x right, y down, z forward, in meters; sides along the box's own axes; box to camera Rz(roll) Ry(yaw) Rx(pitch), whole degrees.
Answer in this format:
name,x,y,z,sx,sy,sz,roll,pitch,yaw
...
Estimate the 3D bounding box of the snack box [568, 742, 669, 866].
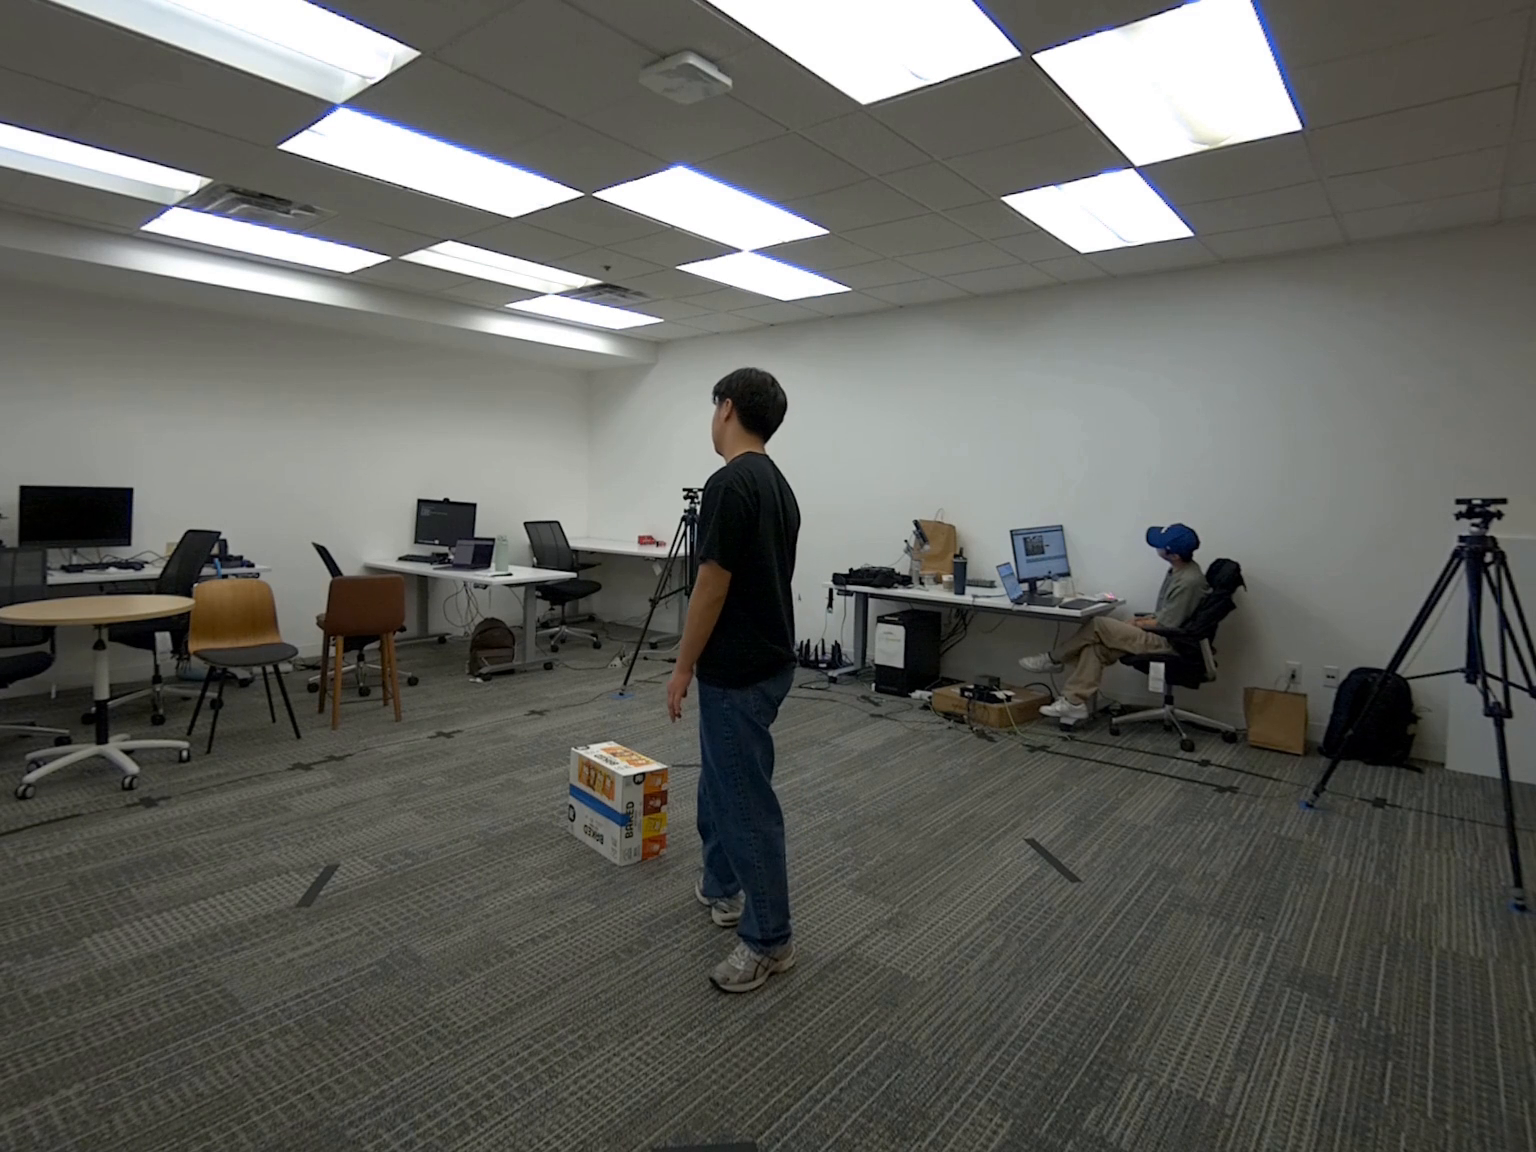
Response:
name,x,y,z,sx,sy,sz,roll,pitch,yaw
snack box,-0.605,0.873,3.324,0.199,0.339,0.419,0,4,-40
